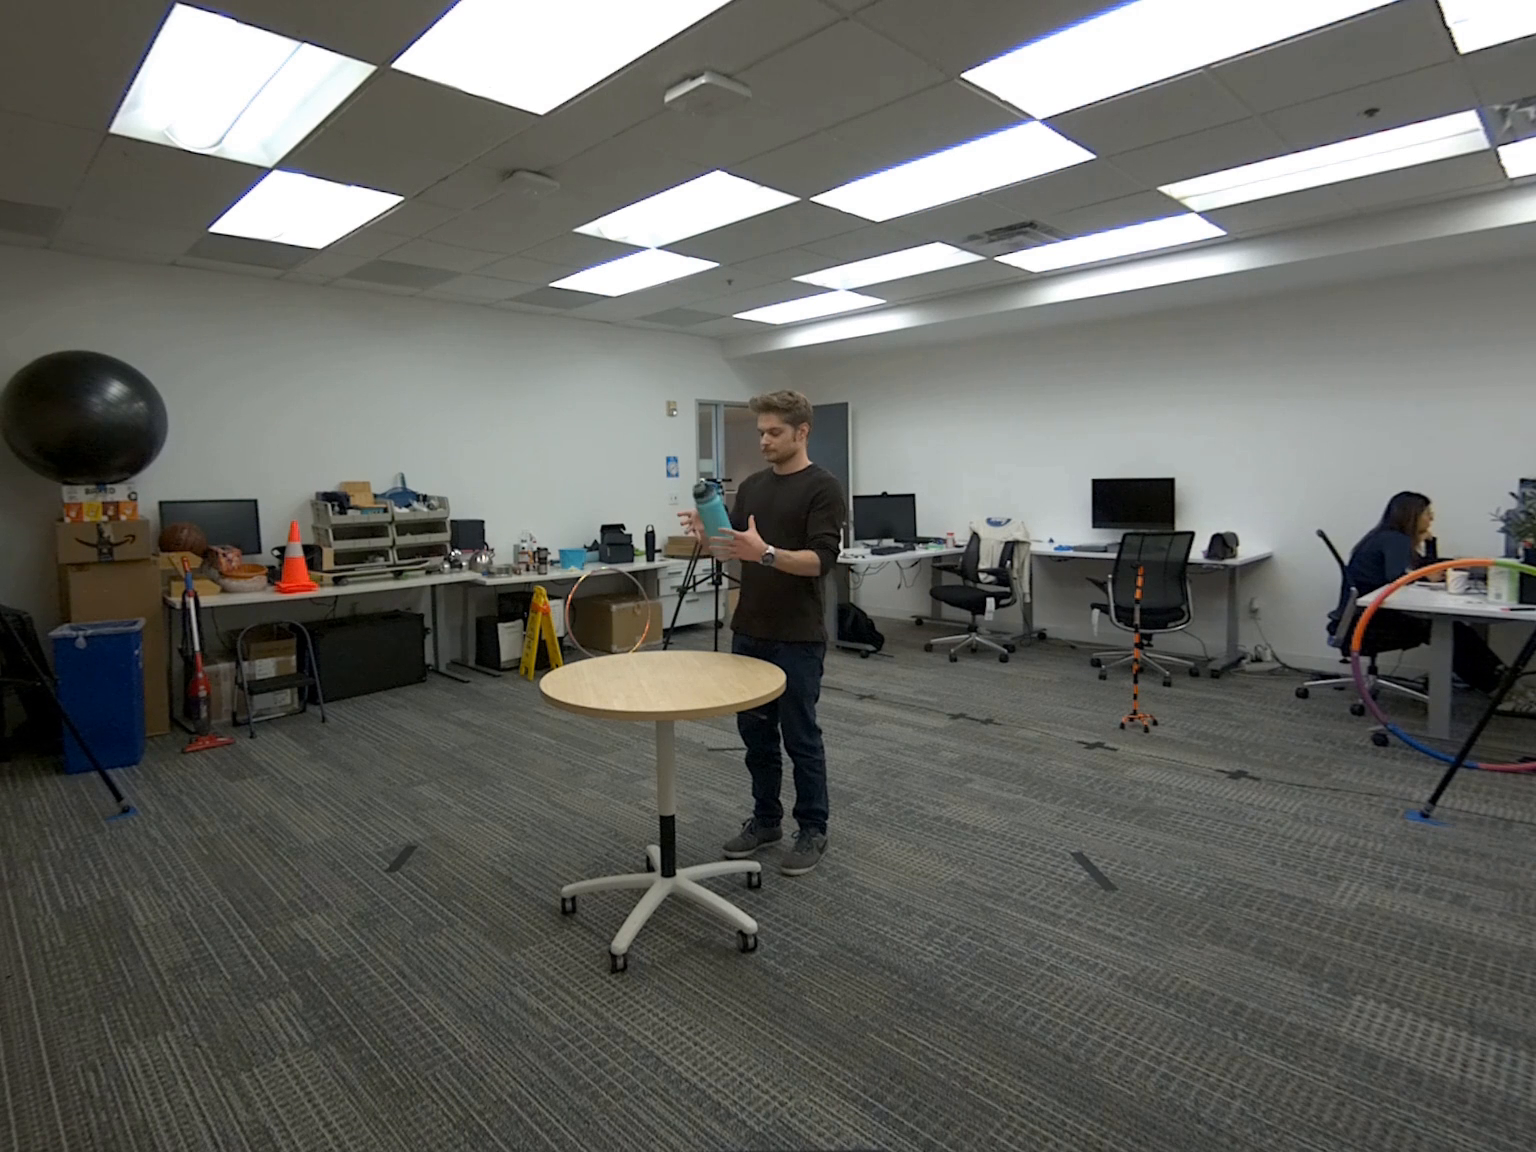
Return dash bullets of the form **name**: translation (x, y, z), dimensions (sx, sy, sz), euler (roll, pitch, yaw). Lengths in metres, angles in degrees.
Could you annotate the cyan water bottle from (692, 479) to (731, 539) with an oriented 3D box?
- **cyan water bottle**: translation (-0.180, -0.160, 2.878), dimensions (0.093, 0.275, 0.095), euler (-14, 32, 7)
